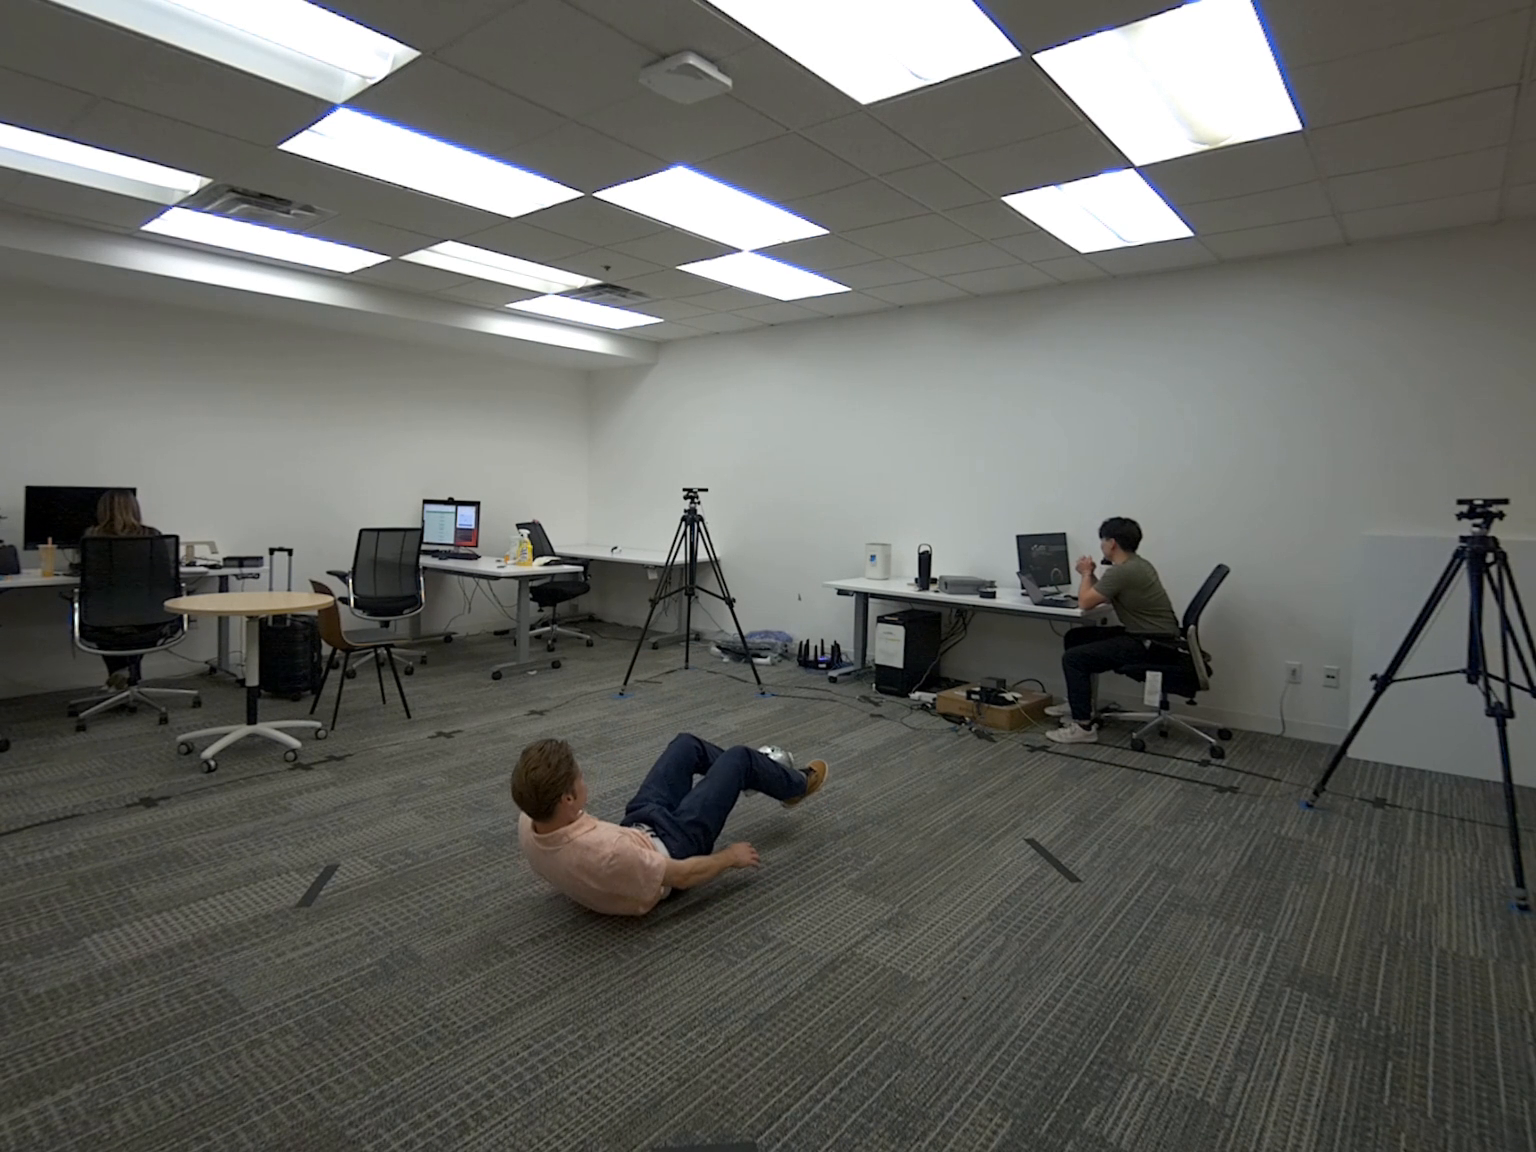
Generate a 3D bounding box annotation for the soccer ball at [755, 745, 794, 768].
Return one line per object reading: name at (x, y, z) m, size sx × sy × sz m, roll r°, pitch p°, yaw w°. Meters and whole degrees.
soccer ball at (0.003, 0.783, 3.446) m, size 0.187 × 0.187 × 0.188 m, roll 1°, pitch 4°, yaw -2°
